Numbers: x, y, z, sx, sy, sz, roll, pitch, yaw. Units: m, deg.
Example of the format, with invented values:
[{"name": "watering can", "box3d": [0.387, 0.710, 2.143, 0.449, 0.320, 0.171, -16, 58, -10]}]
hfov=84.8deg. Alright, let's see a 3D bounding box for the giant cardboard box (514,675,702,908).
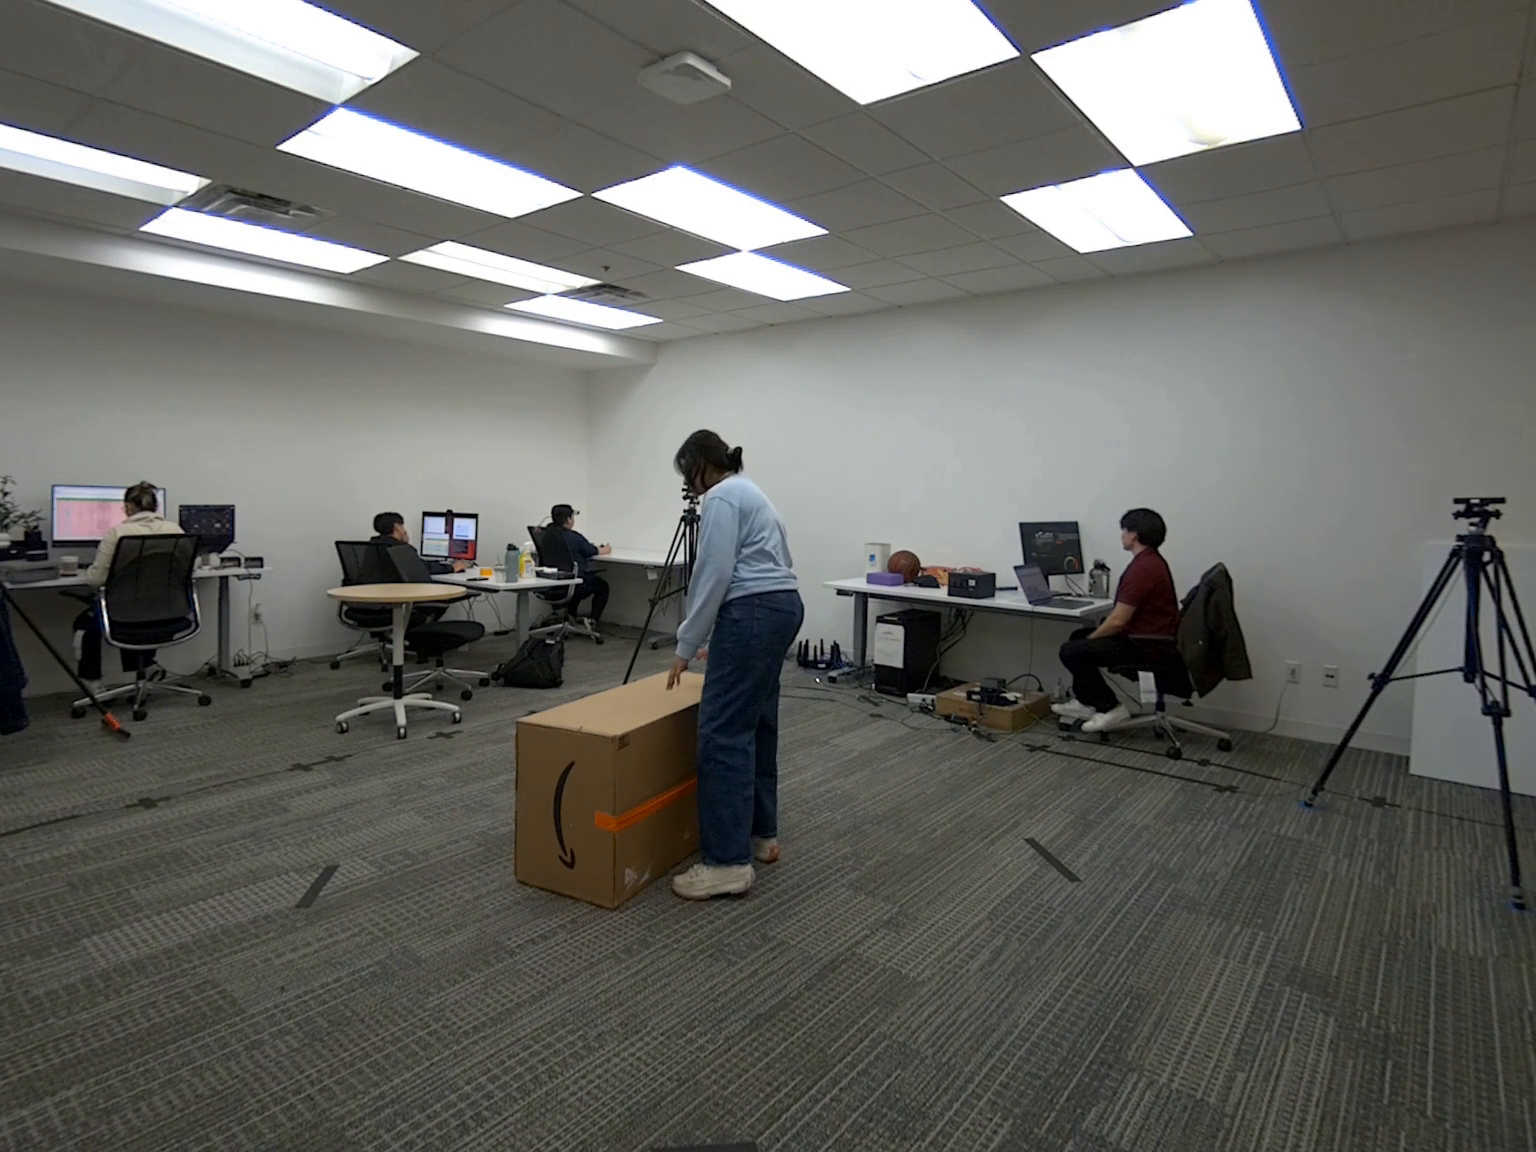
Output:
[{"name": "giant cardboard box", "box3d": [-0.490, 0.758, 3.316, 0.459, 0.582, 1.003, 2, 4, 26]}]
